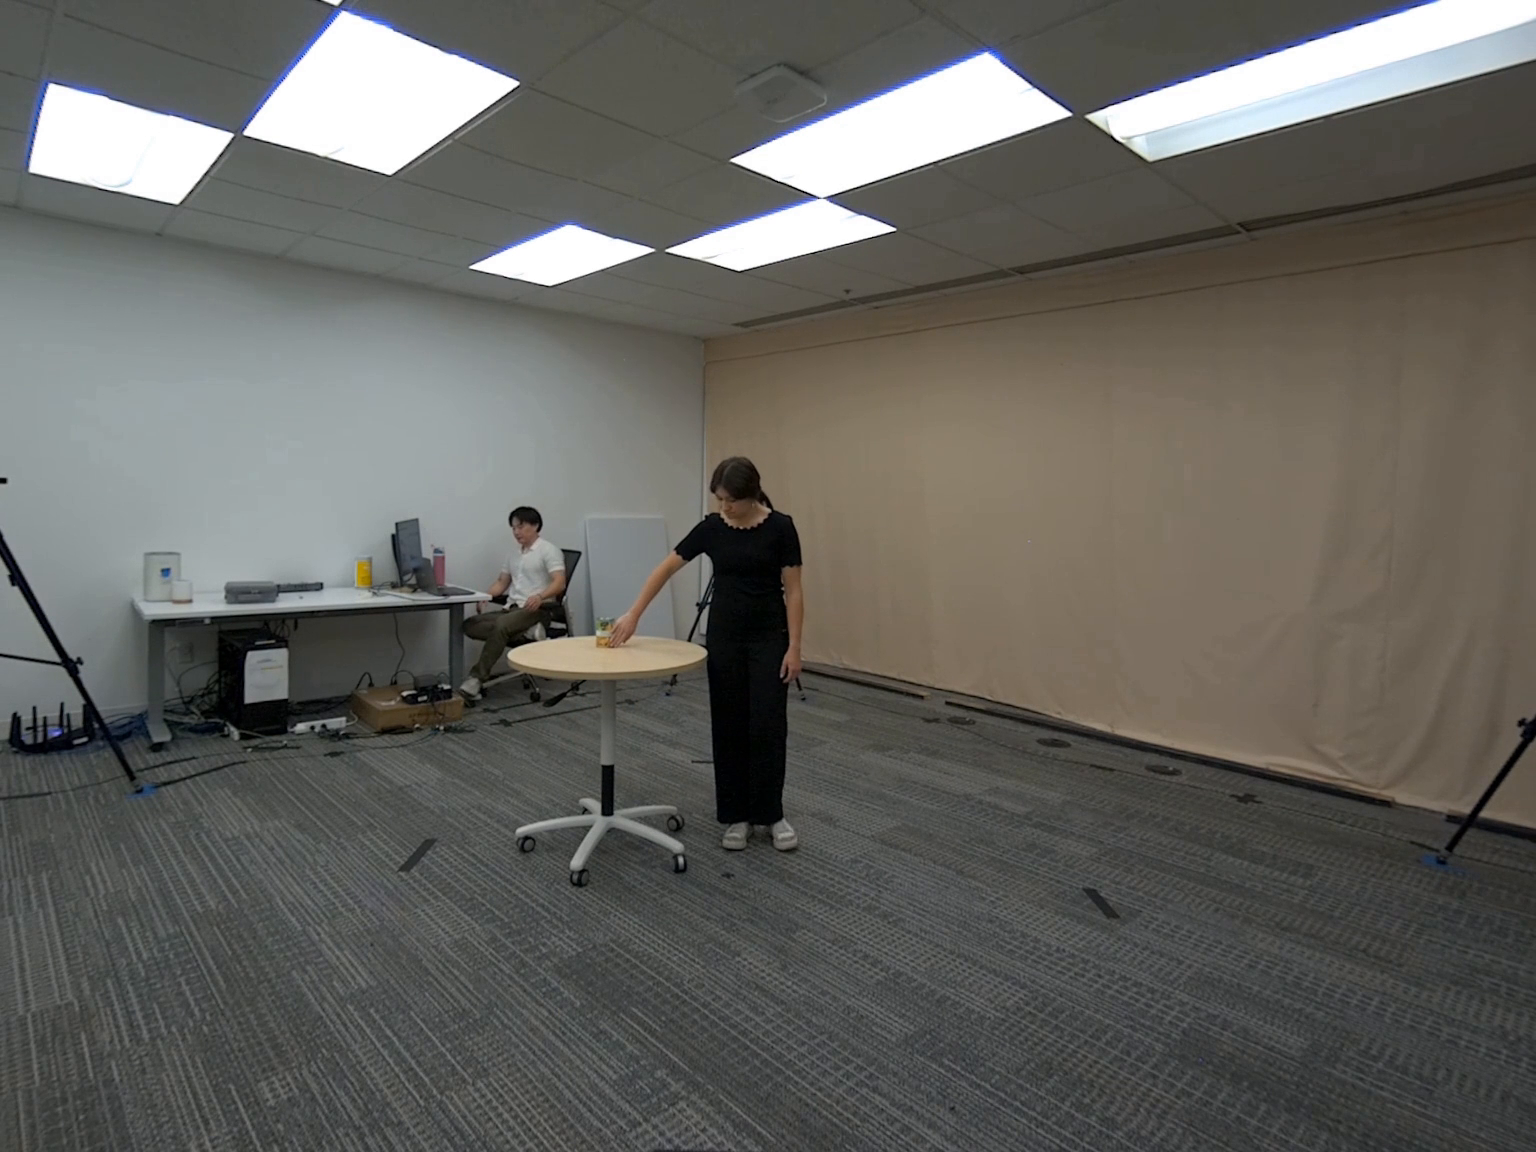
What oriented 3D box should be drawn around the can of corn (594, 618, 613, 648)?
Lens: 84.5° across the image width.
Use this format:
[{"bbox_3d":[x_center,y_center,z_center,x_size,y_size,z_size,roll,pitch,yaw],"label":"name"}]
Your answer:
[{"bbox_3d":[-0.659,0.228,3.390,0.074,0.111,0.074,0,-1,-1],"label":"can of corn"}]
